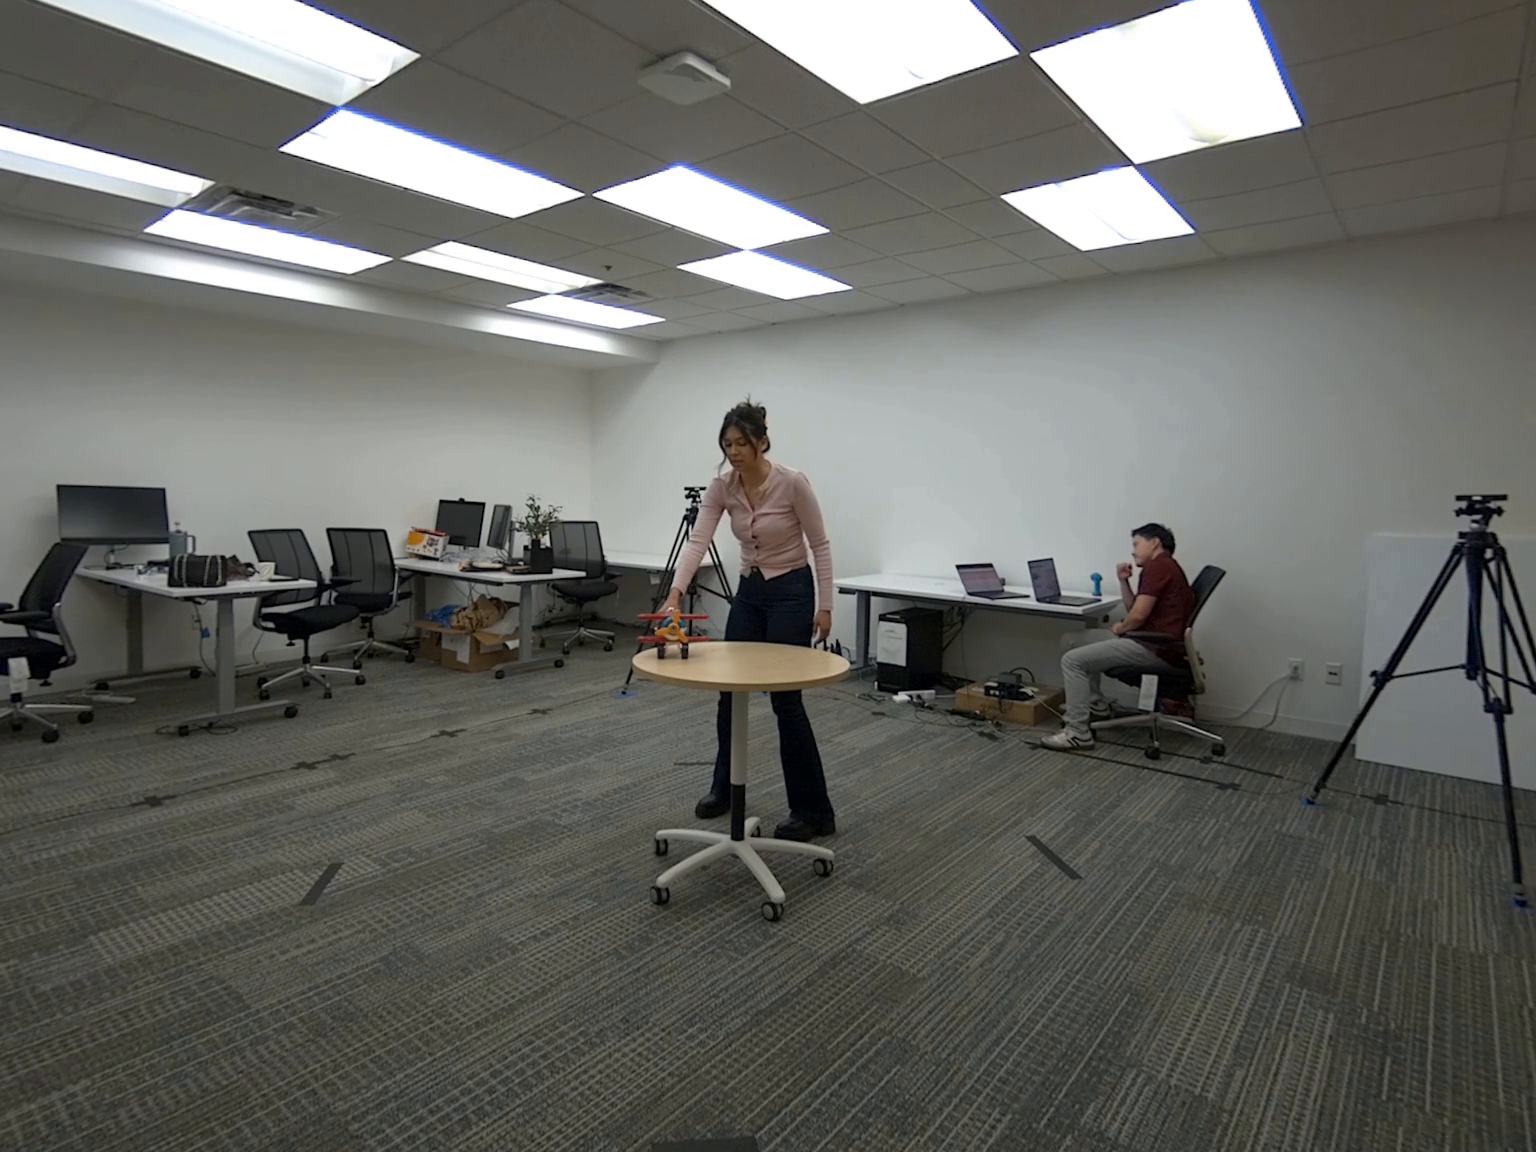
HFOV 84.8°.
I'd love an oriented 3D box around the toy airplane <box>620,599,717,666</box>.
[{"bbox_3d":[-0.369,0.196,3.086,0.244,0.155,0.269,-6,13,-35],"label":"toy airplane"}]
